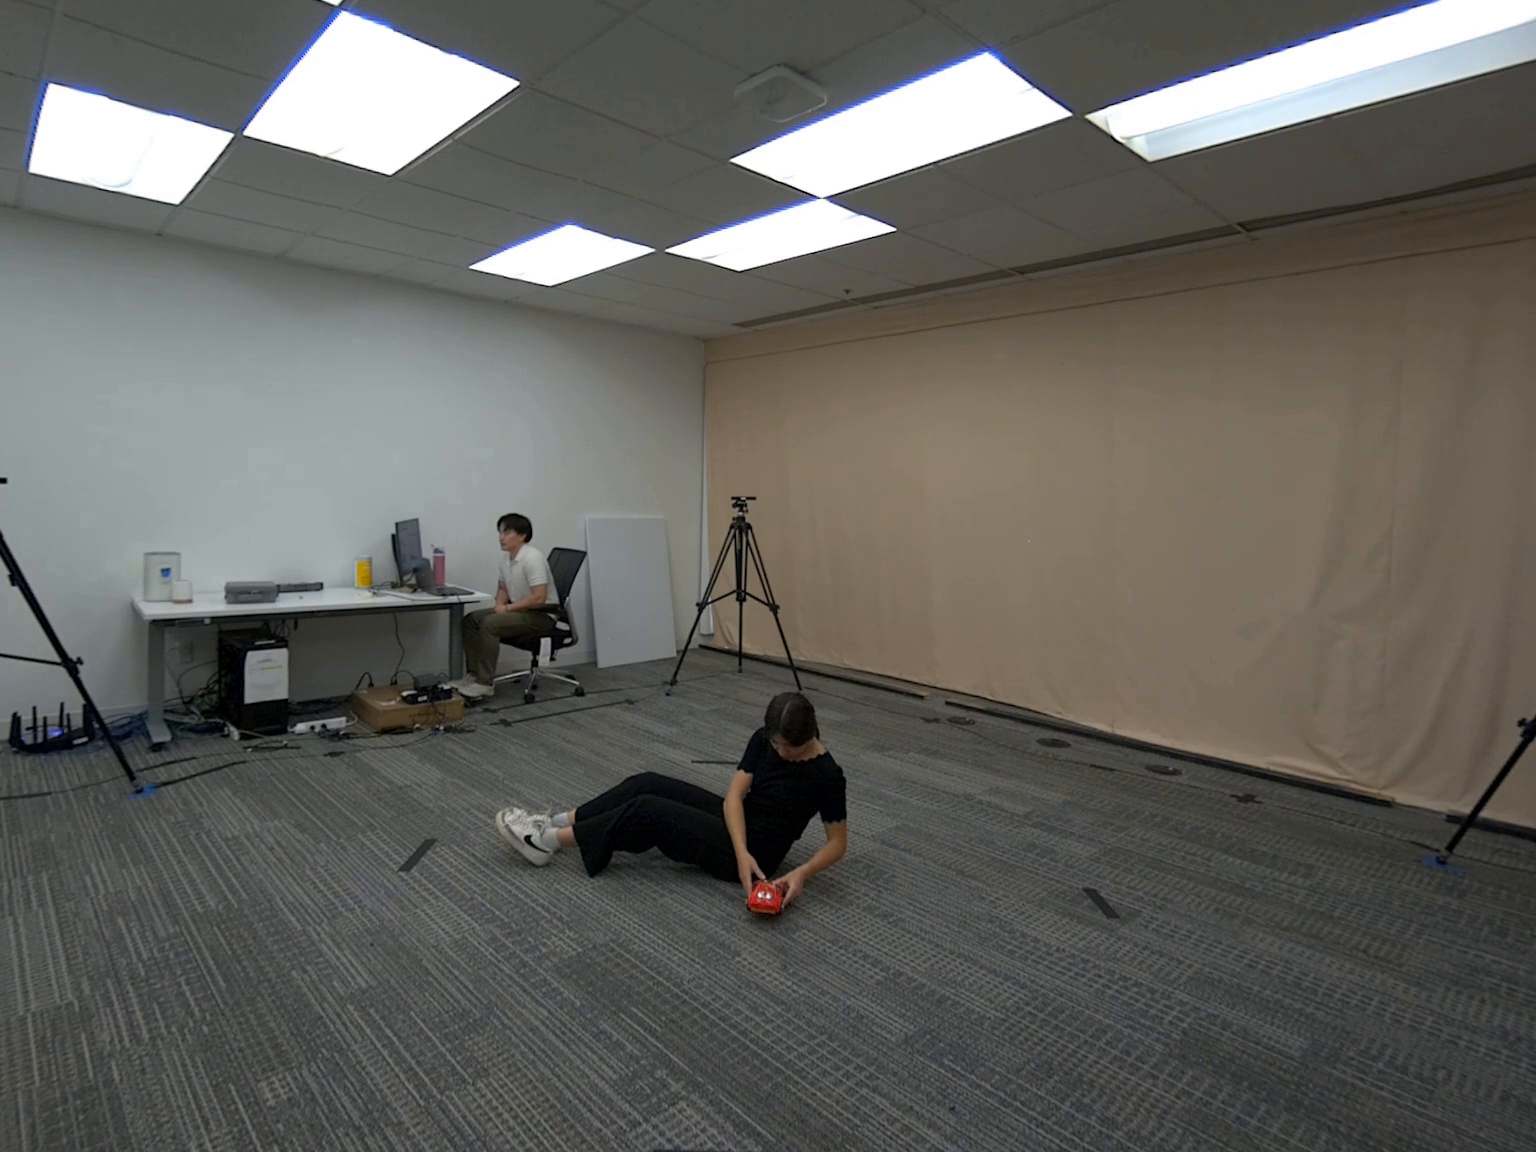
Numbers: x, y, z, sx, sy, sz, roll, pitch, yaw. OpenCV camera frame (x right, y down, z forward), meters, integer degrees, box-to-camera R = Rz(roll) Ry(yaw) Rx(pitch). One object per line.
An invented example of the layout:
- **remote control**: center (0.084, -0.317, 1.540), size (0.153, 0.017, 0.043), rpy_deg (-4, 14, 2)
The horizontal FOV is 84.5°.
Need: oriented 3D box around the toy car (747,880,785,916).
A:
- **toy car**: center (-0.019, 1.072, 2.831), size (0.131, 0.084, 0.250), rpy_deg (5, -13, 7)
